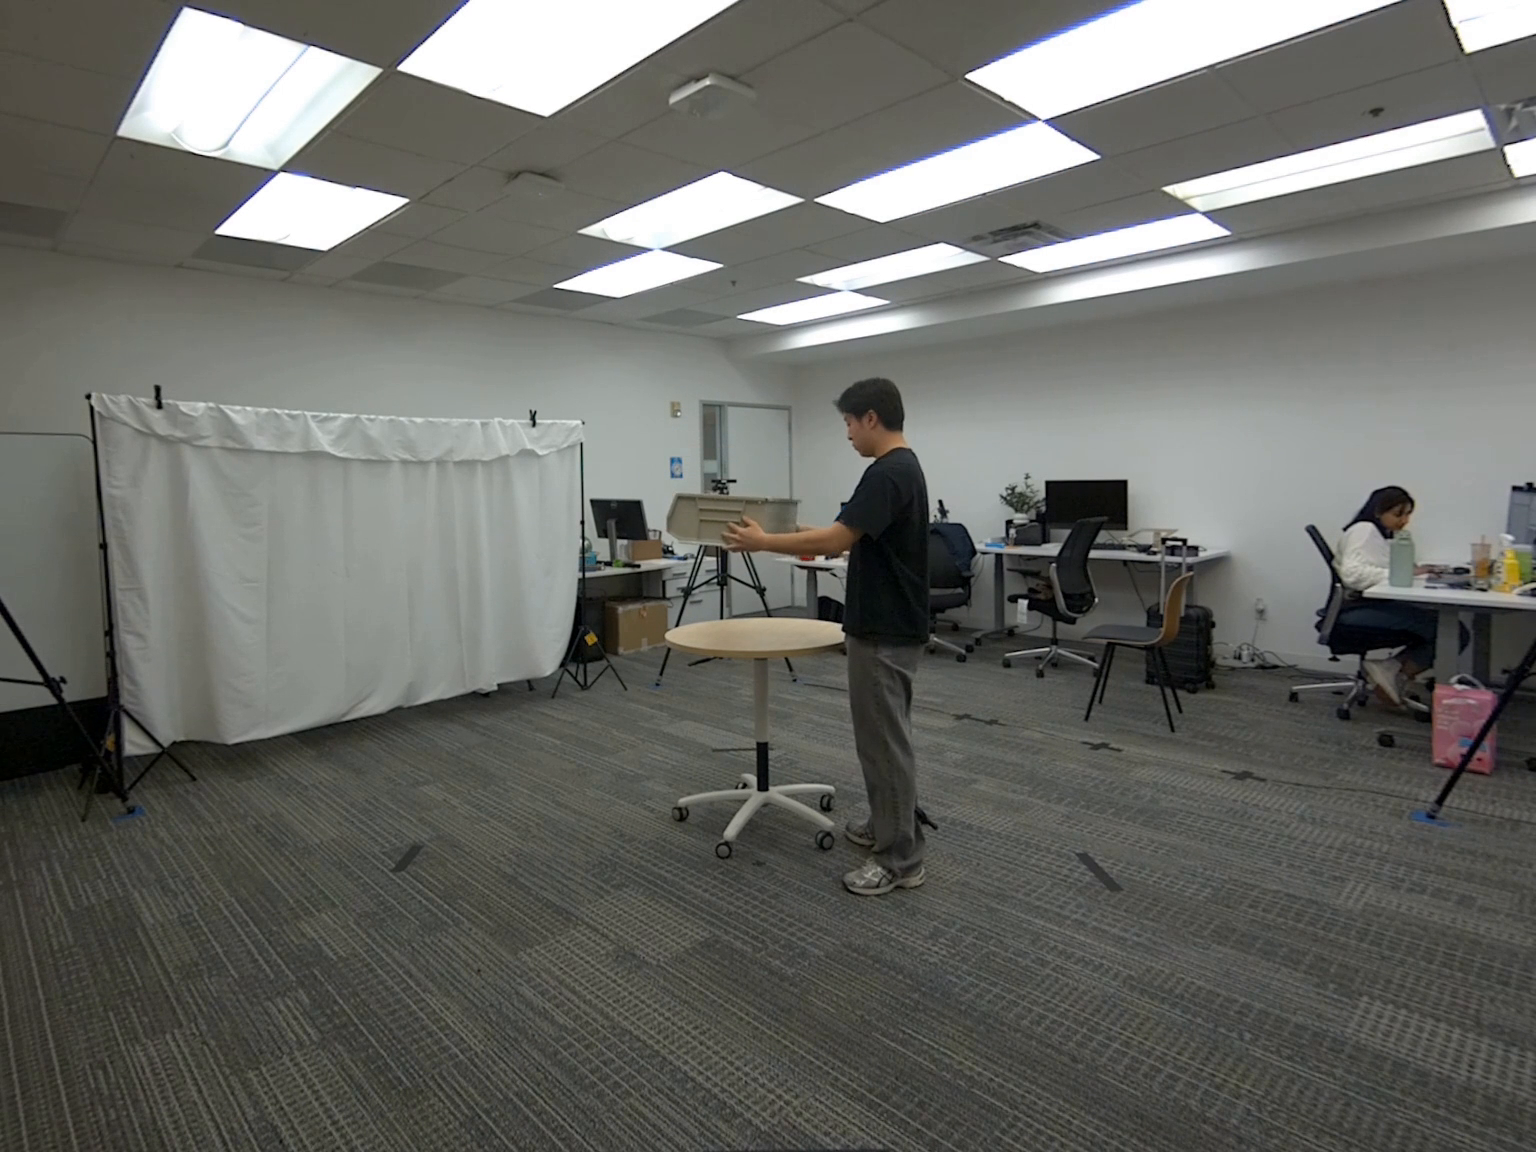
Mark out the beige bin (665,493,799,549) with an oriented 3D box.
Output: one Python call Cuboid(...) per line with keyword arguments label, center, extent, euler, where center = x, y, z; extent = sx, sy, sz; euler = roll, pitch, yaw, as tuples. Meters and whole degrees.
Cuboid(label="beige bin", center=(-0.115, -0.207, 3.165), extent=(0.385, 0.188, 0.415), euler=(6, 5, 19))
